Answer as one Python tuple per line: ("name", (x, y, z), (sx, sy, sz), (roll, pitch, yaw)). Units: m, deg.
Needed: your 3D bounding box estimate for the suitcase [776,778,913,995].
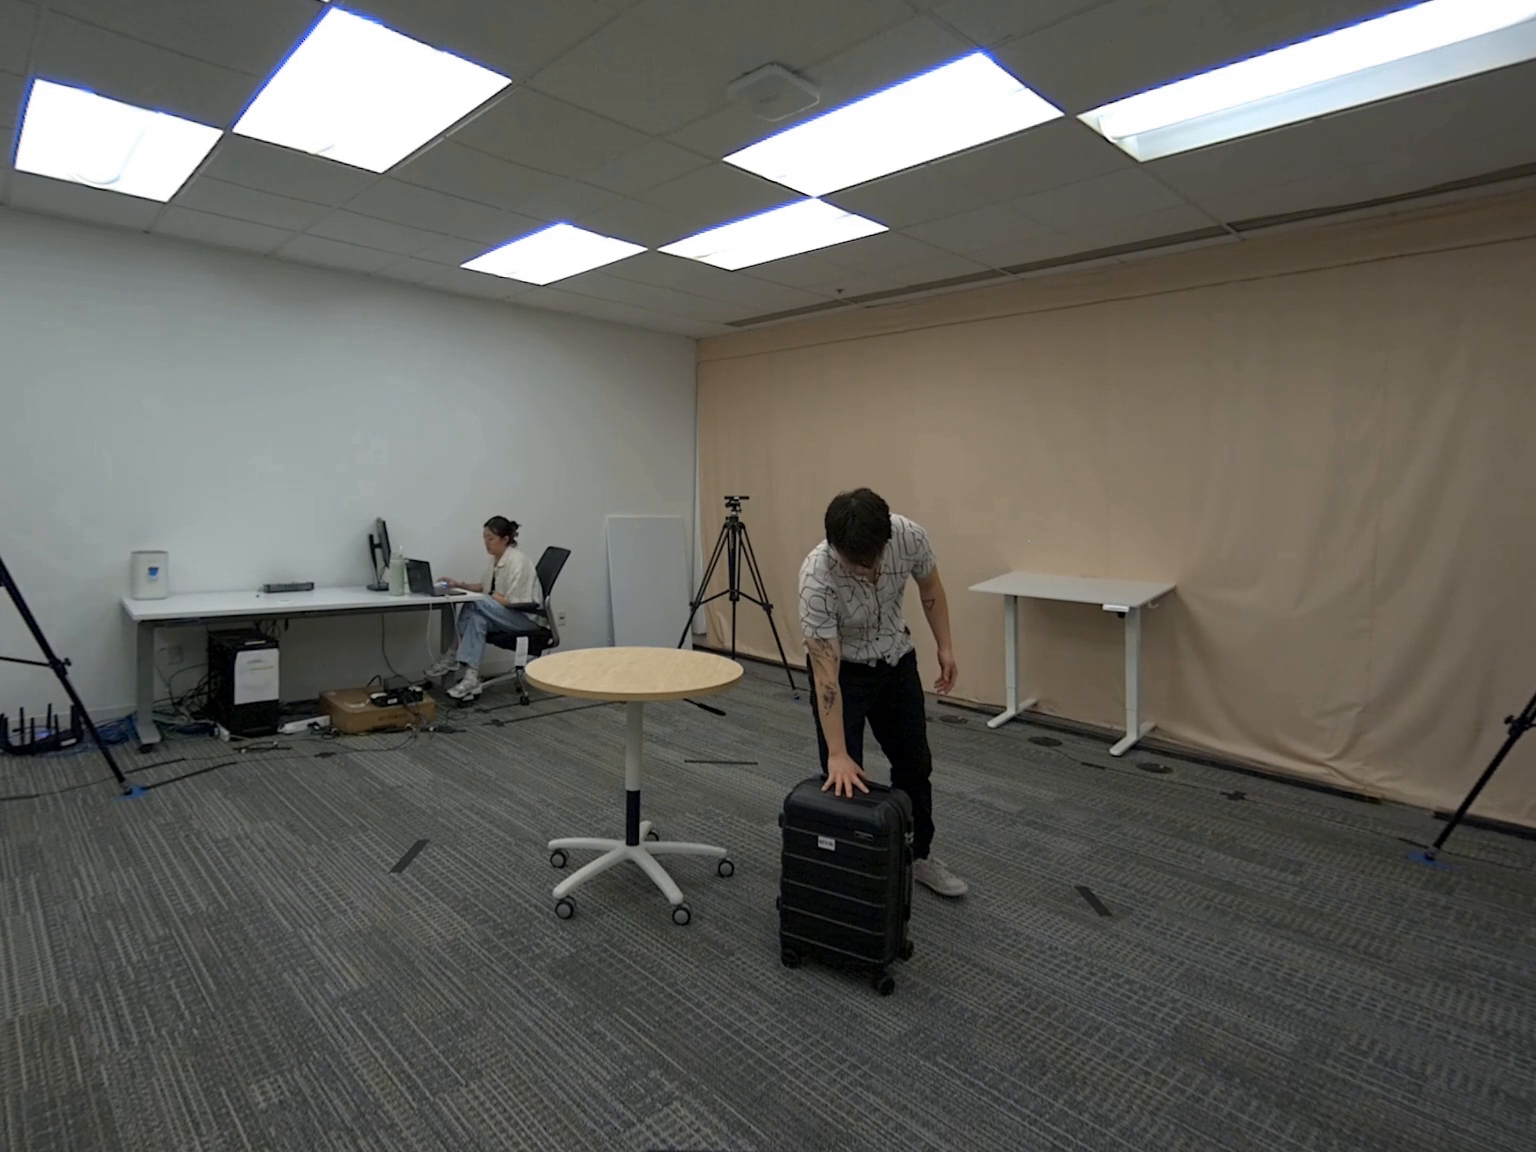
("suitcase", (0.234, 0.894, 2.524), (0.383, 0.547, 0.244), (4, 6, 29))
